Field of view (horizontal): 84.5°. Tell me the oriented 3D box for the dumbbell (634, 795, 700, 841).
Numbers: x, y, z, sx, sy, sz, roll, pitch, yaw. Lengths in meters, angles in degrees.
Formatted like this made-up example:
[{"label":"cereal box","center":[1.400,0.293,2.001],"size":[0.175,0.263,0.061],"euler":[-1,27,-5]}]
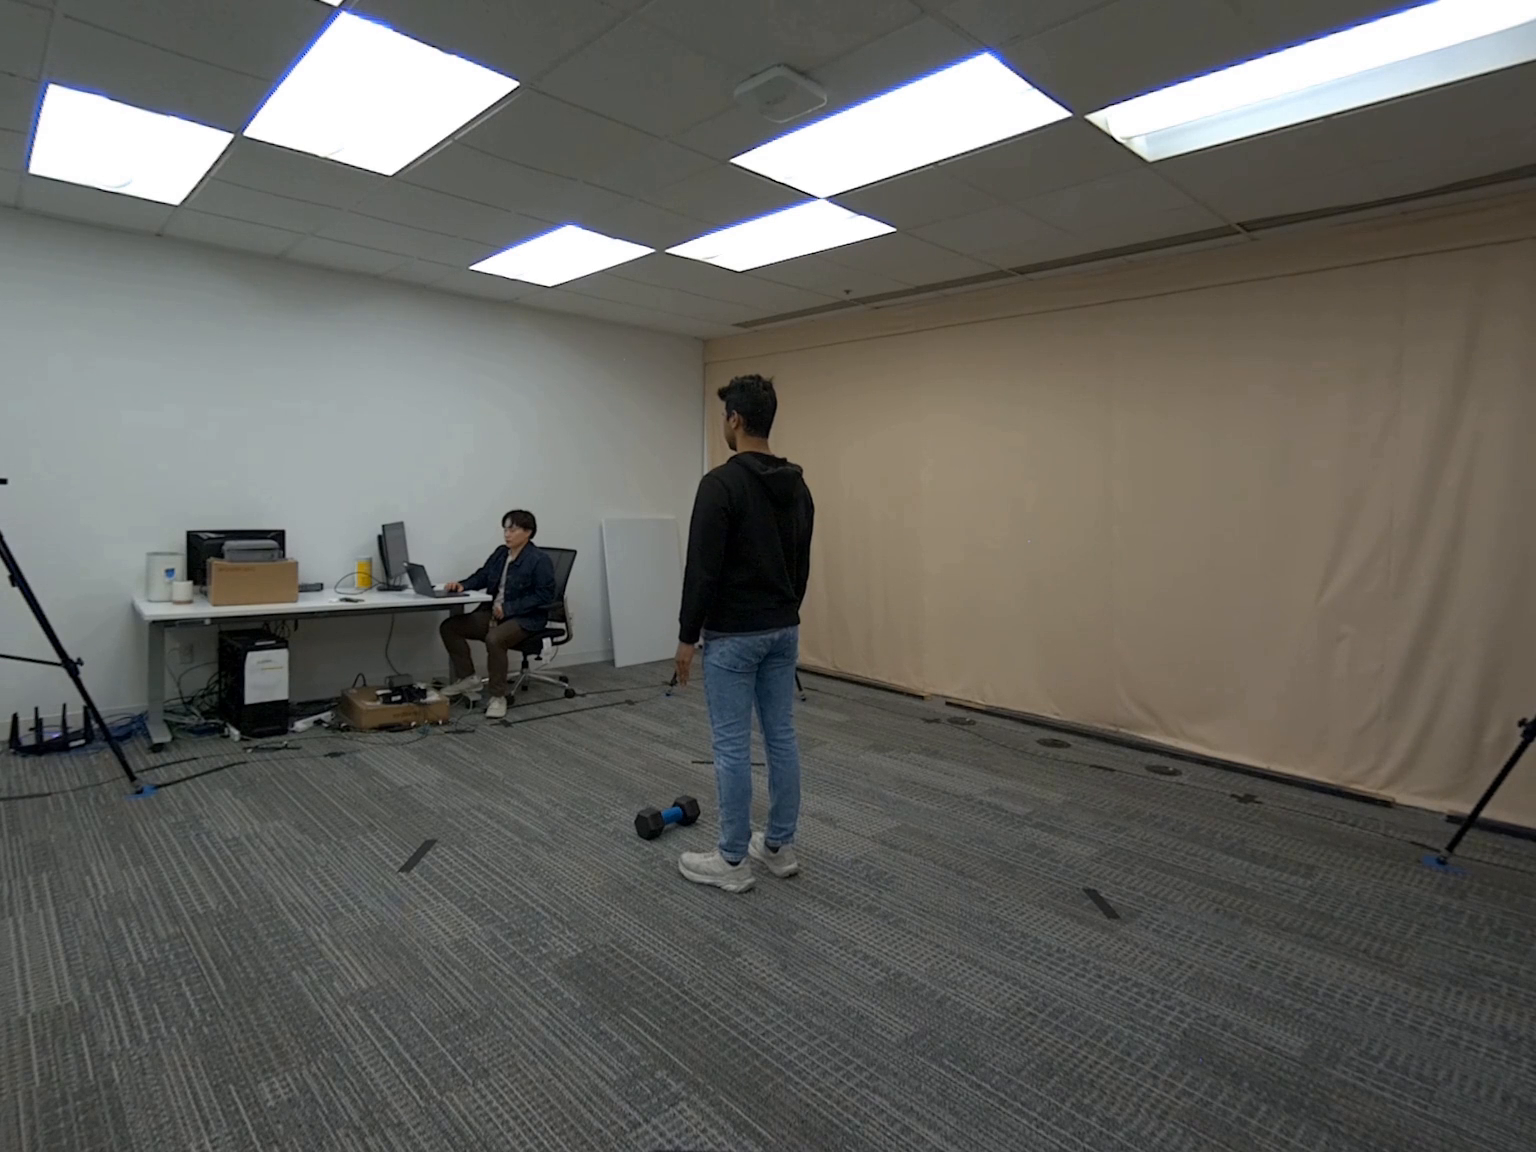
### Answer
[{"label":"dumbbell","center":[-0.426,1.010,3.525],"size":[0.126,0.108,0.287],"euler":[7,7,39]}]
